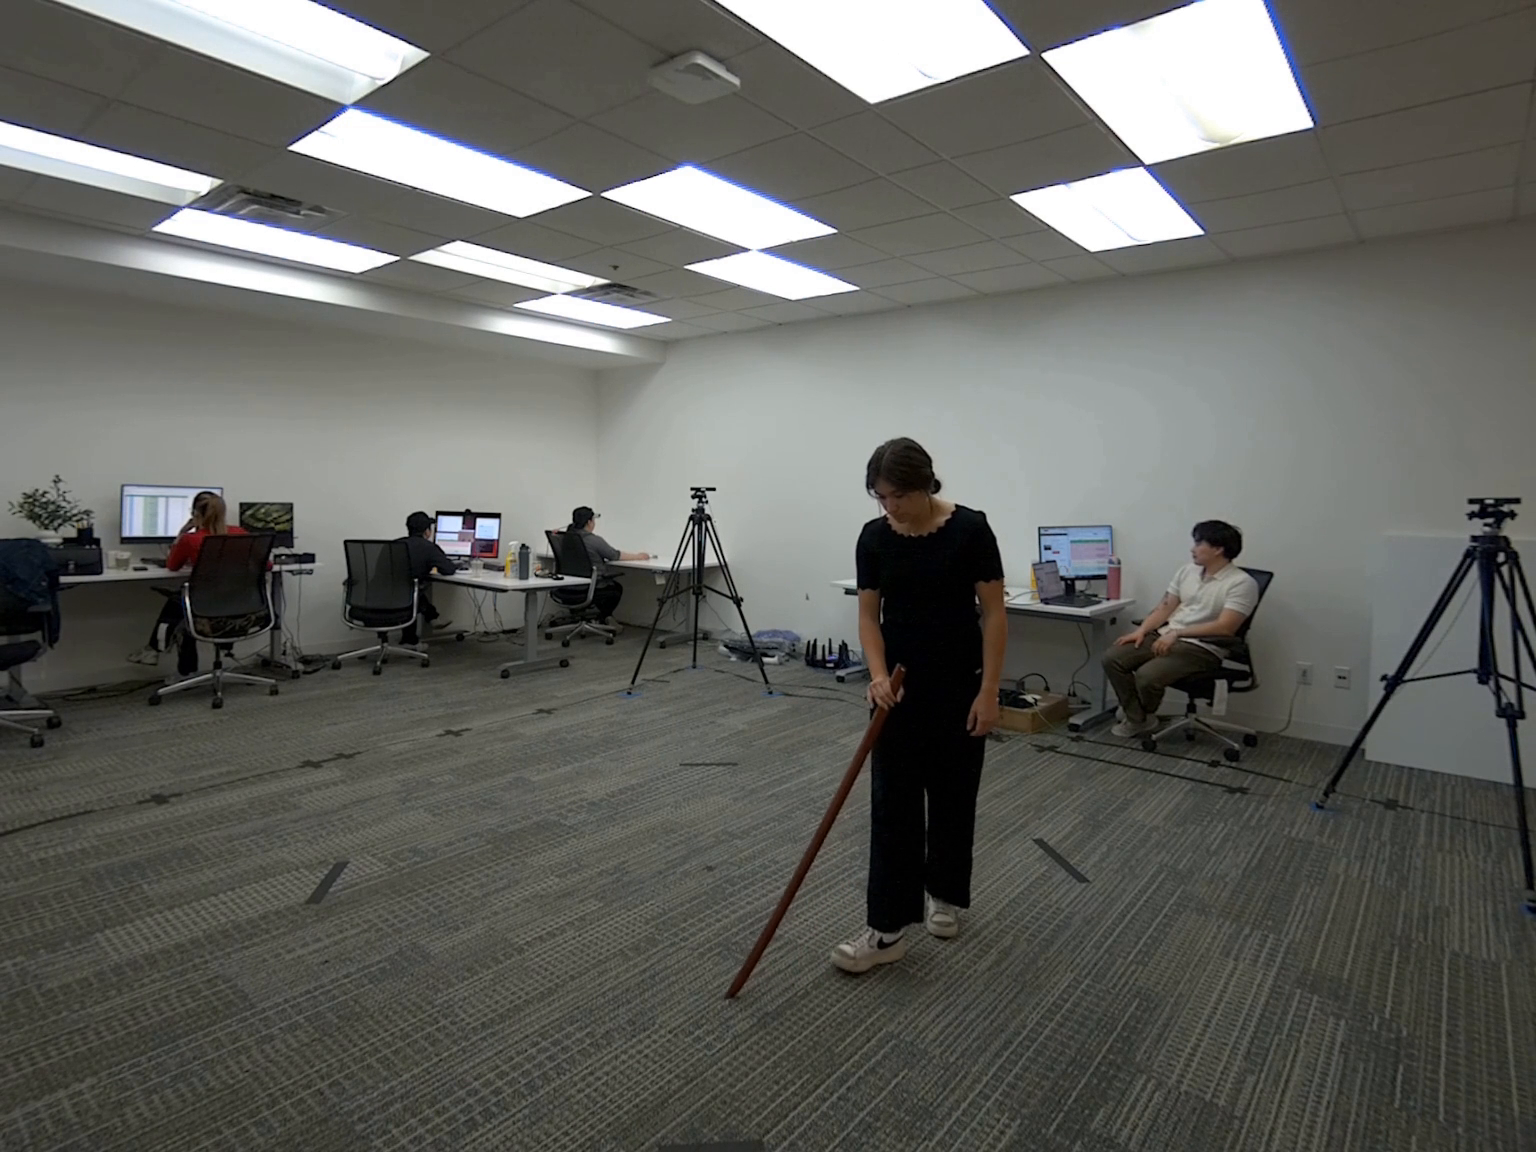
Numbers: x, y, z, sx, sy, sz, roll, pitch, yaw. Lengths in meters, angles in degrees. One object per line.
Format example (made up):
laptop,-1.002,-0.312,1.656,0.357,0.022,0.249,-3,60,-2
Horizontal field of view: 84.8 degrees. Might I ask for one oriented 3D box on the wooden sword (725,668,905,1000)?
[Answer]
wooden sword,0.143,0.740,2.391,0.049,1.027,0.025,36,-10,-26
